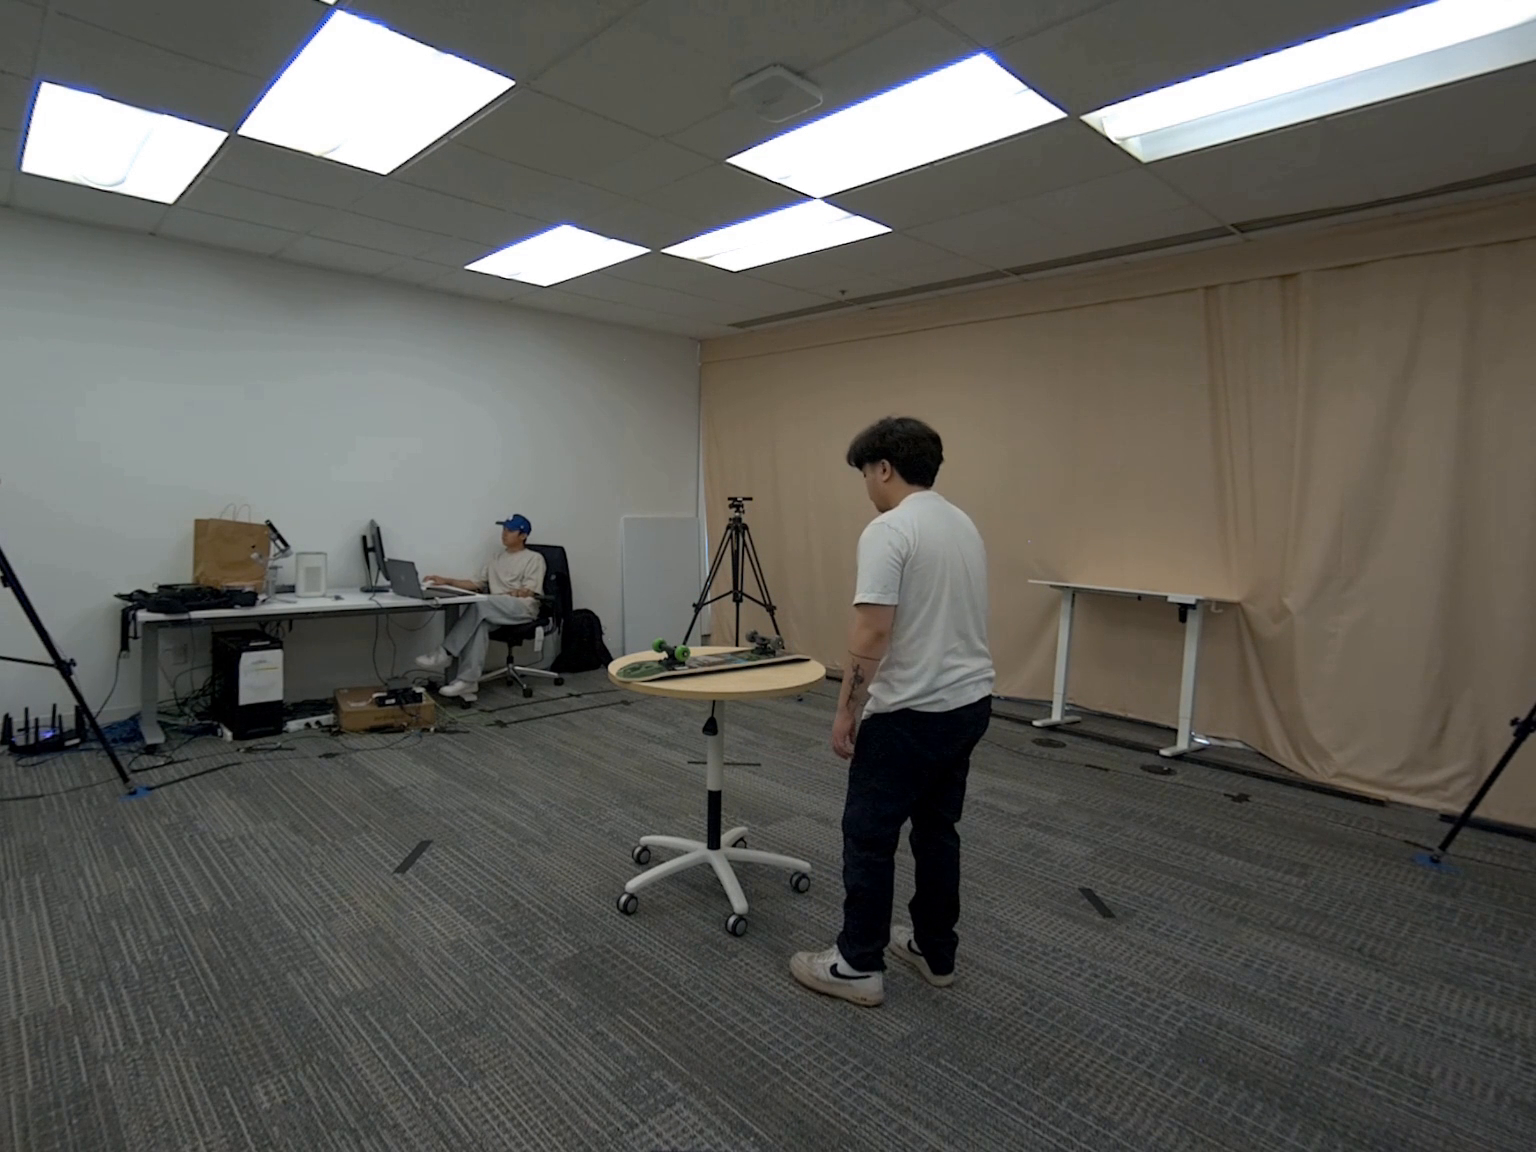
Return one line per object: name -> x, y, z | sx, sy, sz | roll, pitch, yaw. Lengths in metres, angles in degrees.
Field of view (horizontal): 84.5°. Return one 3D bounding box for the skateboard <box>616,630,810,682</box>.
skateboard -> -0.181, 0.278, 2.973 | 0.769, 0.110, 0.198 | -2, 7, -34
